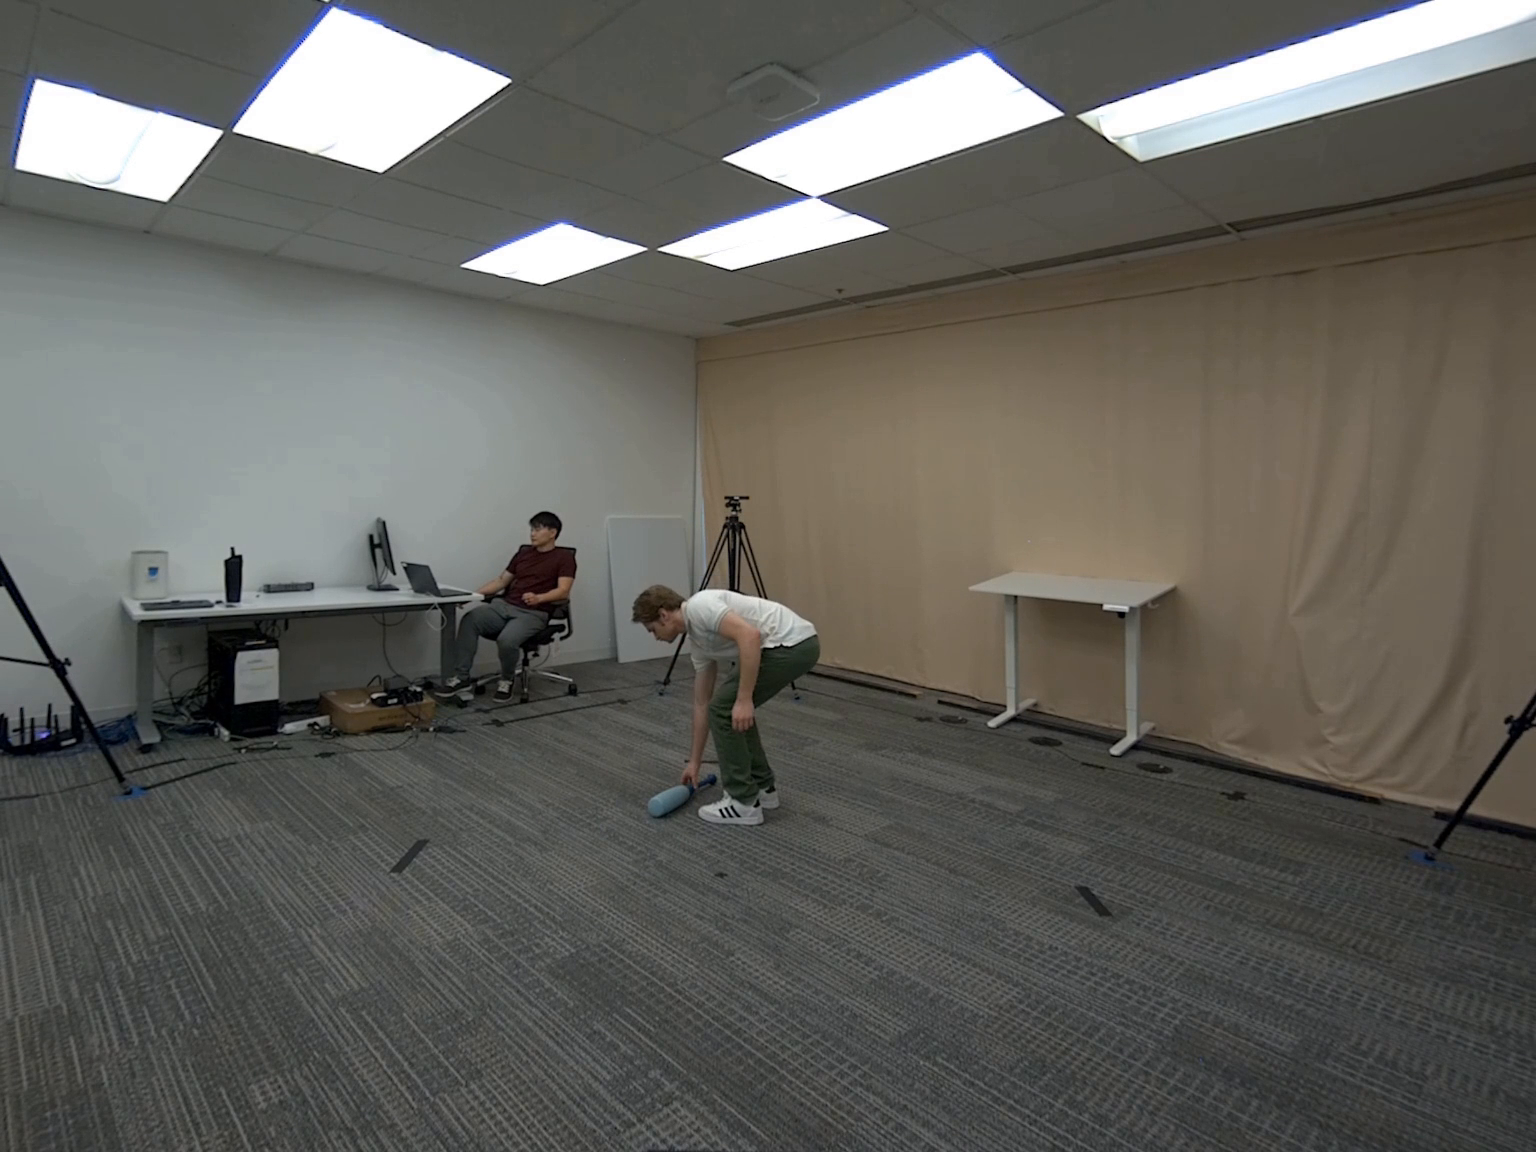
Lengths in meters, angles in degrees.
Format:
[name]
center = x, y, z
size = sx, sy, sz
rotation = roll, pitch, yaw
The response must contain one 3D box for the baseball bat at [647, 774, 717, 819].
[baseball bat]
center = -0.389, 0.991, 3.870
size = 0.090, 0.089, 0.533
rotation = 3, 1, 22
